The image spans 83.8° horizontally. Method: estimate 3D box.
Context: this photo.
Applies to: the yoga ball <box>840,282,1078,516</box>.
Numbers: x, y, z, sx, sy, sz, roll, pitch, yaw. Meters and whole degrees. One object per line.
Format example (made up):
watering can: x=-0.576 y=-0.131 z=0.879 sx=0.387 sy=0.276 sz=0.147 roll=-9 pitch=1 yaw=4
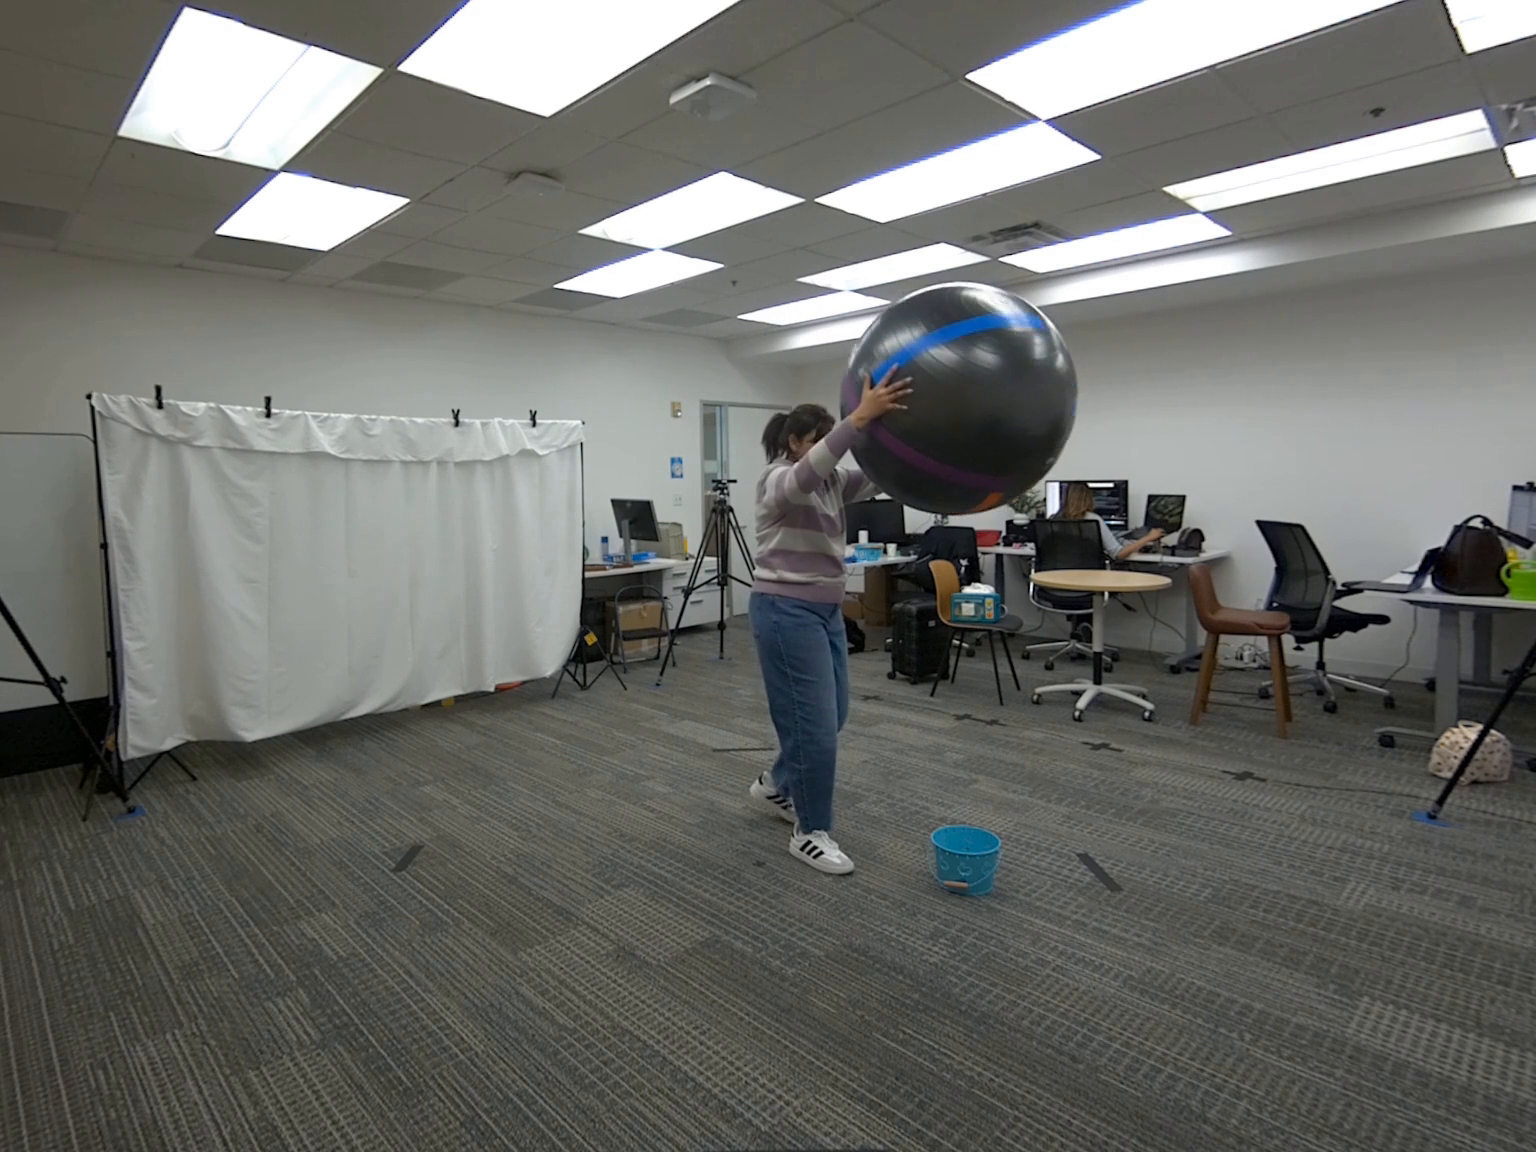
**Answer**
yoga ball: x=0.631 y=-0.573 z=2.838 sx=0.757 sy=0.755 sz=0.762 roll=-1 pitch=5 yaw=-2
